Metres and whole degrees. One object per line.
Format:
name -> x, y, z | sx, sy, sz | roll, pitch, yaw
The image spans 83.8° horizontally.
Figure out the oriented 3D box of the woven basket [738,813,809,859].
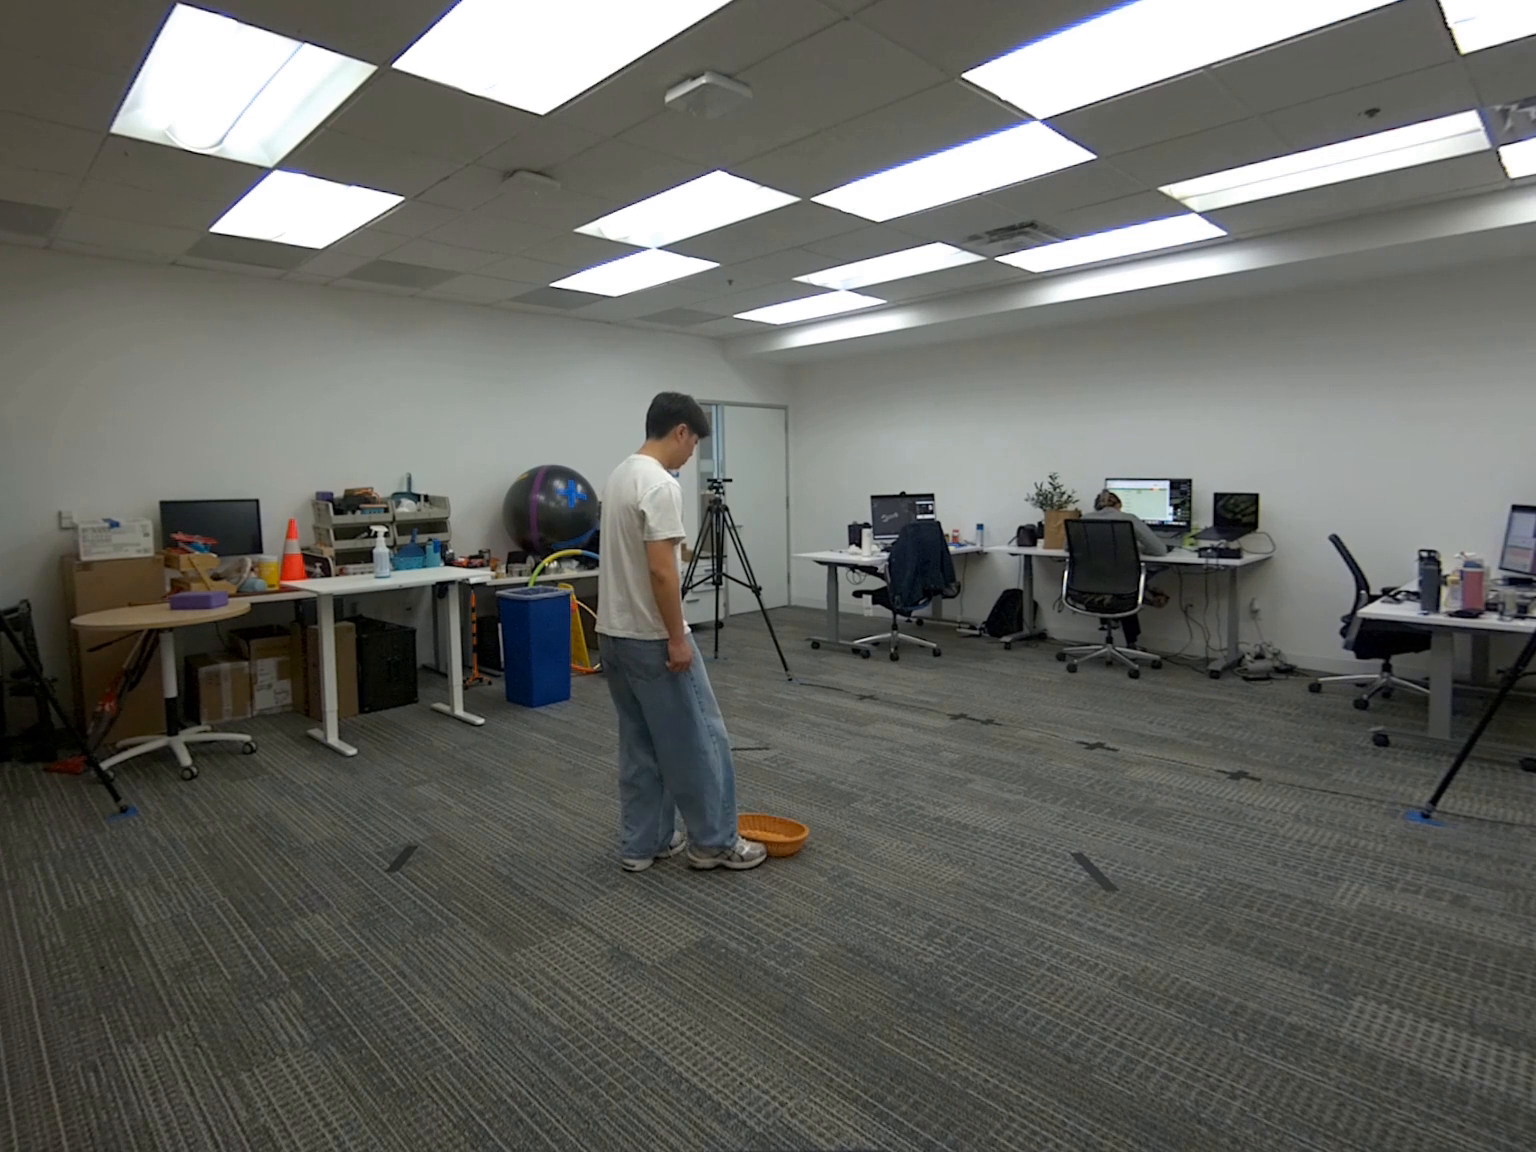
woven basket -> -0.016, 0.982, 3.256 | 0.359, 0.073, 0.247 | 2, 2, 26
